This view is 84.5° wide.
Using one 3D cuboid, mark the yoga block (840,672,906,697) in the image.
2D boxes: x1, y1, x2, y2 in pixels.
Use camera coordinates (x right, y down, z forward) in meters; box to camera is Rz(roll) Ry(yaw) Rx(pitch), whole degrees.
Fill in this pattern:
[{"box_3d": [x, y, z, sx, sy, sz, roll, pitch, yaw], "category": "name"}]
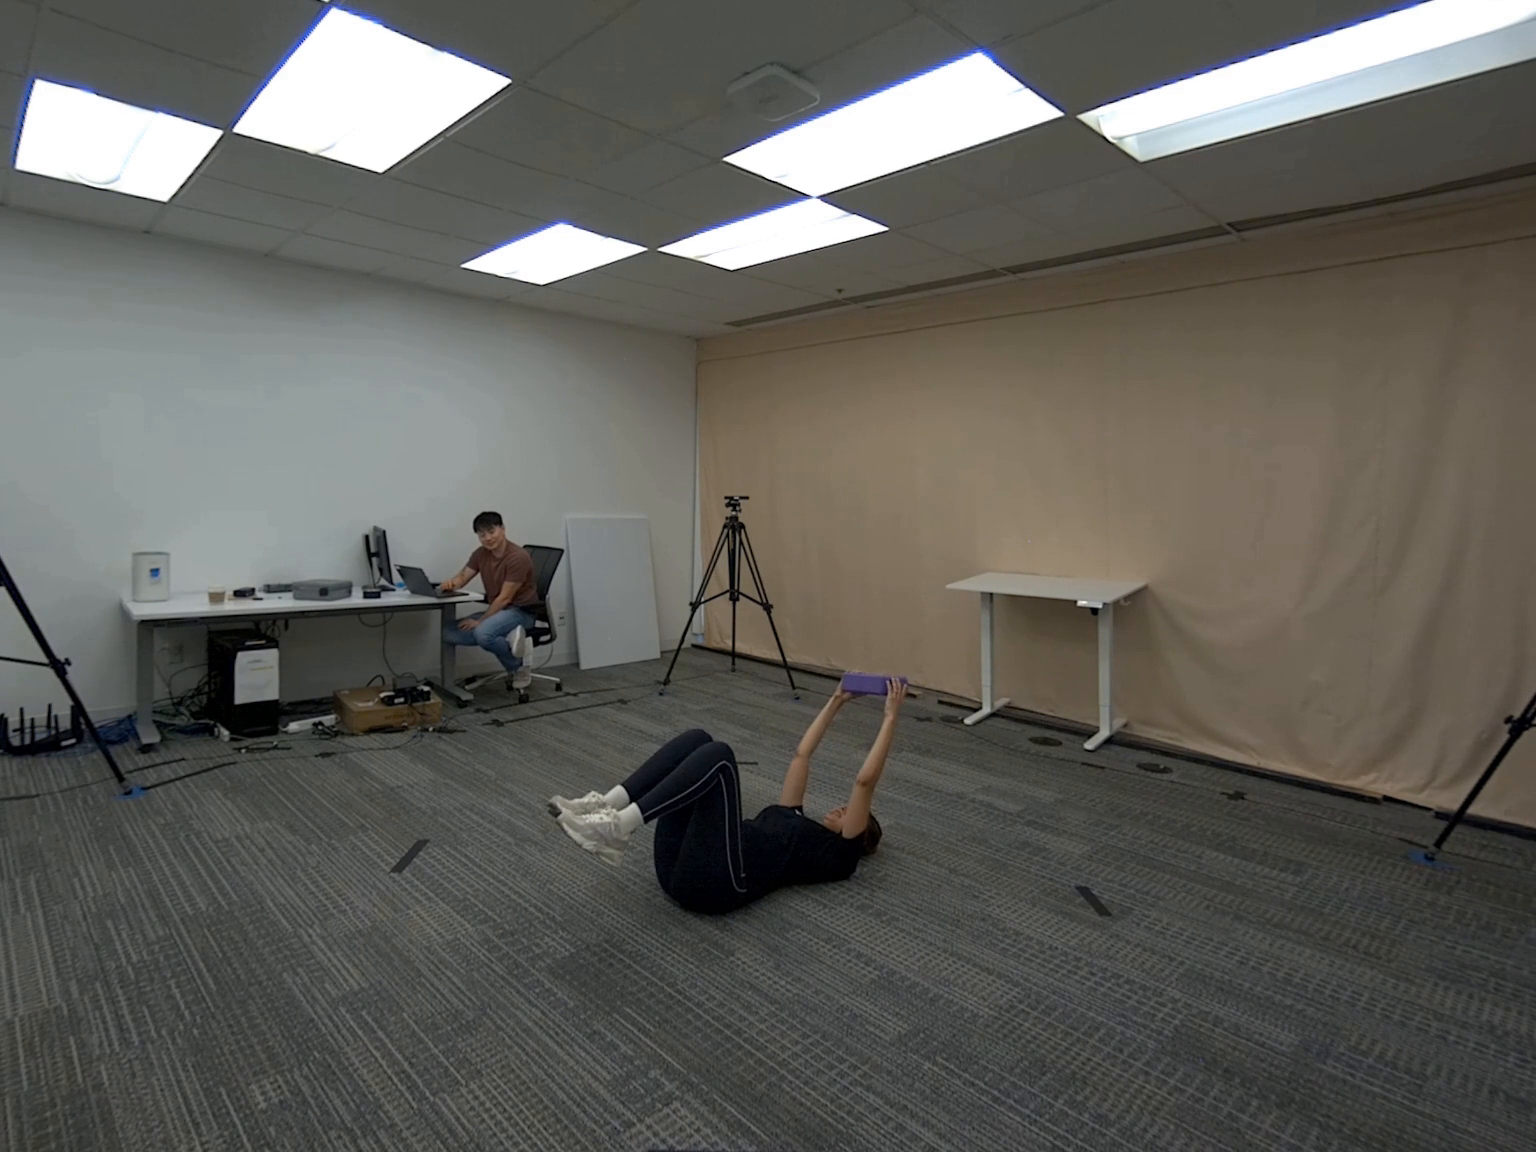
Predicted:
[{"box_3d": [0.419, 0.429, 3.349, 0.145, 0.077, 0.234, 8, -8, -38], "category": "yoga block"}]
